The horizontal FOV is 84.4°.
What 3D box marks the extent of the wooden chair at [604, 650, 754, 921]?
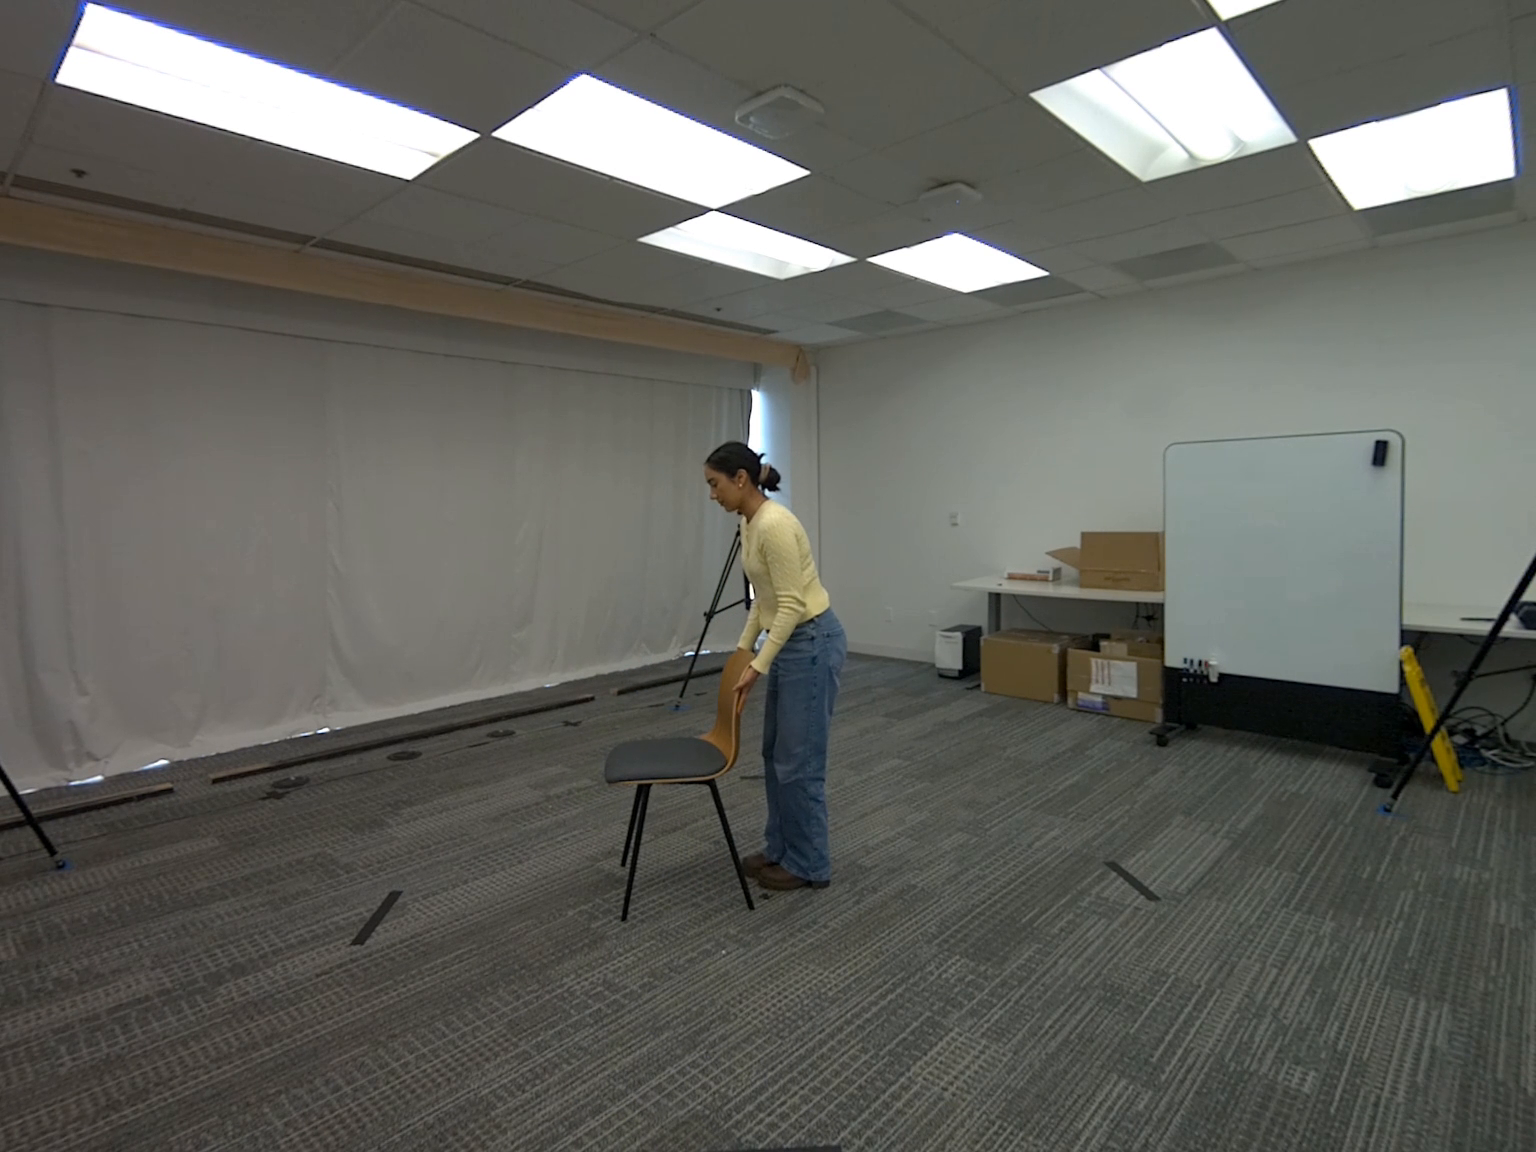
[{"bbox_3d":[-0.329,0.713,3.047,0.518,0.875,0.483,2,4,-9],"label":"wooden chair"}]
